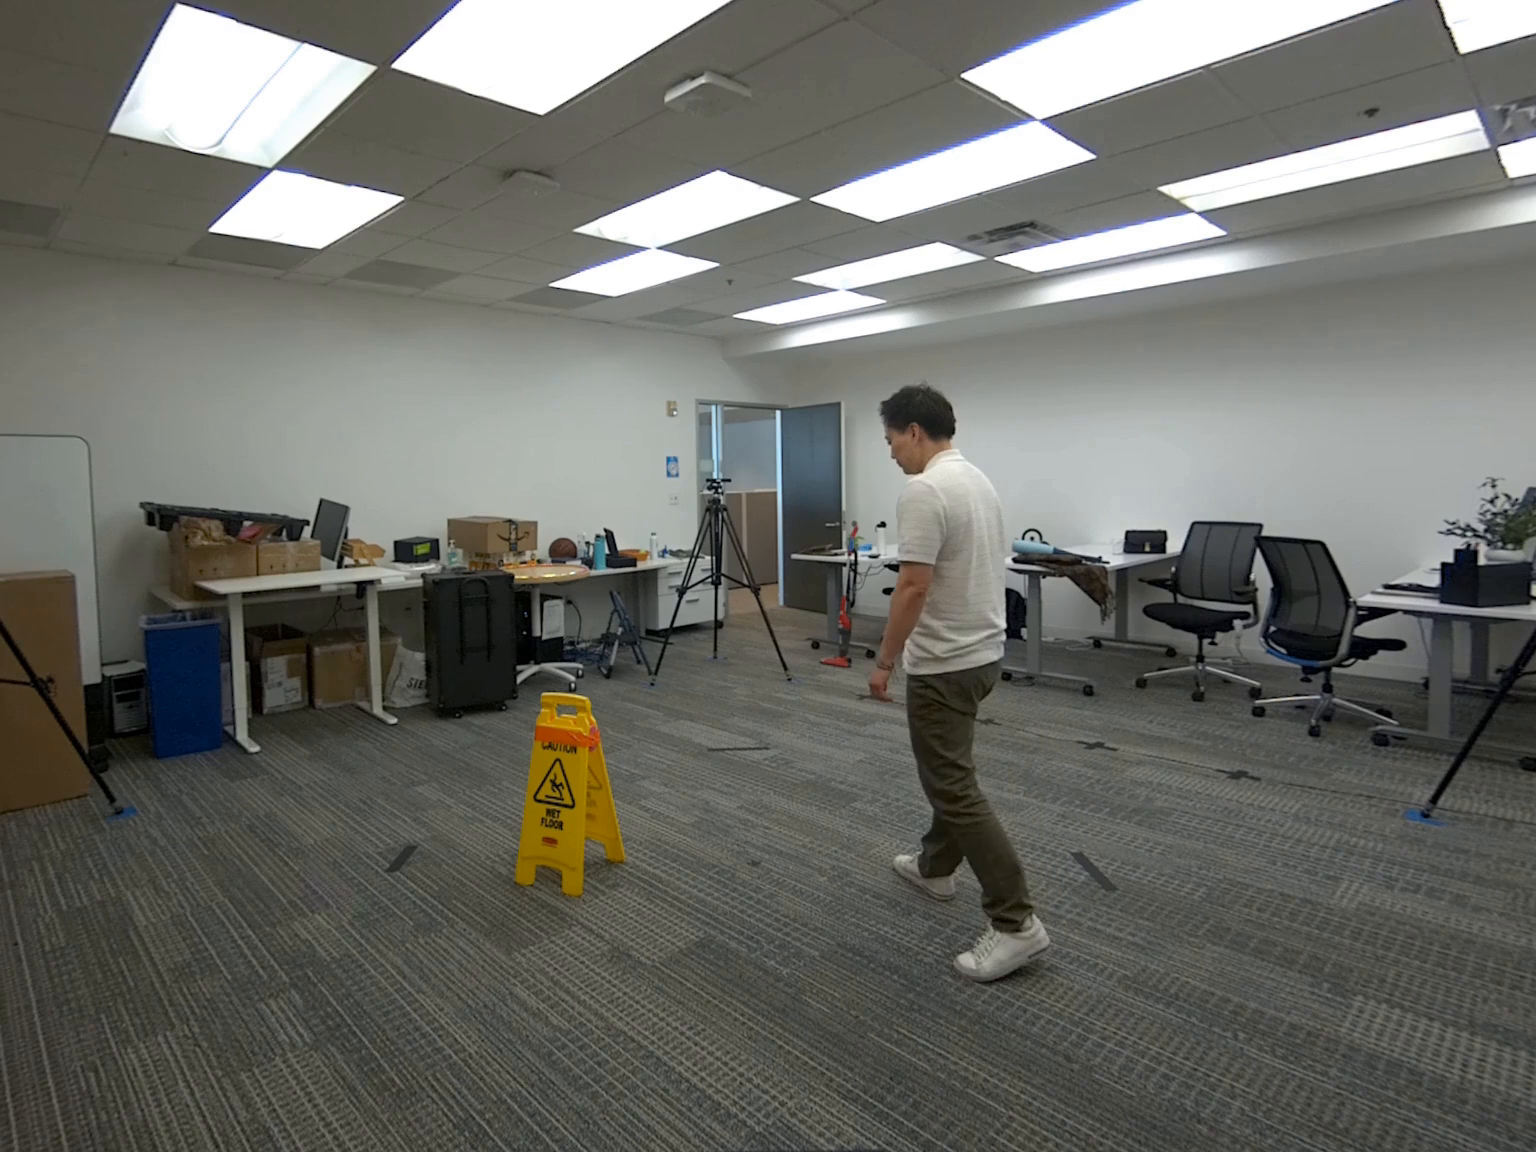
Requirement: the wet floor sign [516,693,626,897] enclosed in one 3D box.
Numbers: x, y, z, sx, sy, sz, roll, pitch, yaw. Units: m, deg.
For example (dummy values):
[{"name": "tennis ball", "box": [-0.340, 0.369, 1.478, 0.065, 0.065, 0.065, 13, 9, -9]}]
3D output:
[{"name": "wet floor sign", "box": [-0.713, 0.744, 3.044, 0.288, 0.644, 0.284, 0, 4, 24]}]
